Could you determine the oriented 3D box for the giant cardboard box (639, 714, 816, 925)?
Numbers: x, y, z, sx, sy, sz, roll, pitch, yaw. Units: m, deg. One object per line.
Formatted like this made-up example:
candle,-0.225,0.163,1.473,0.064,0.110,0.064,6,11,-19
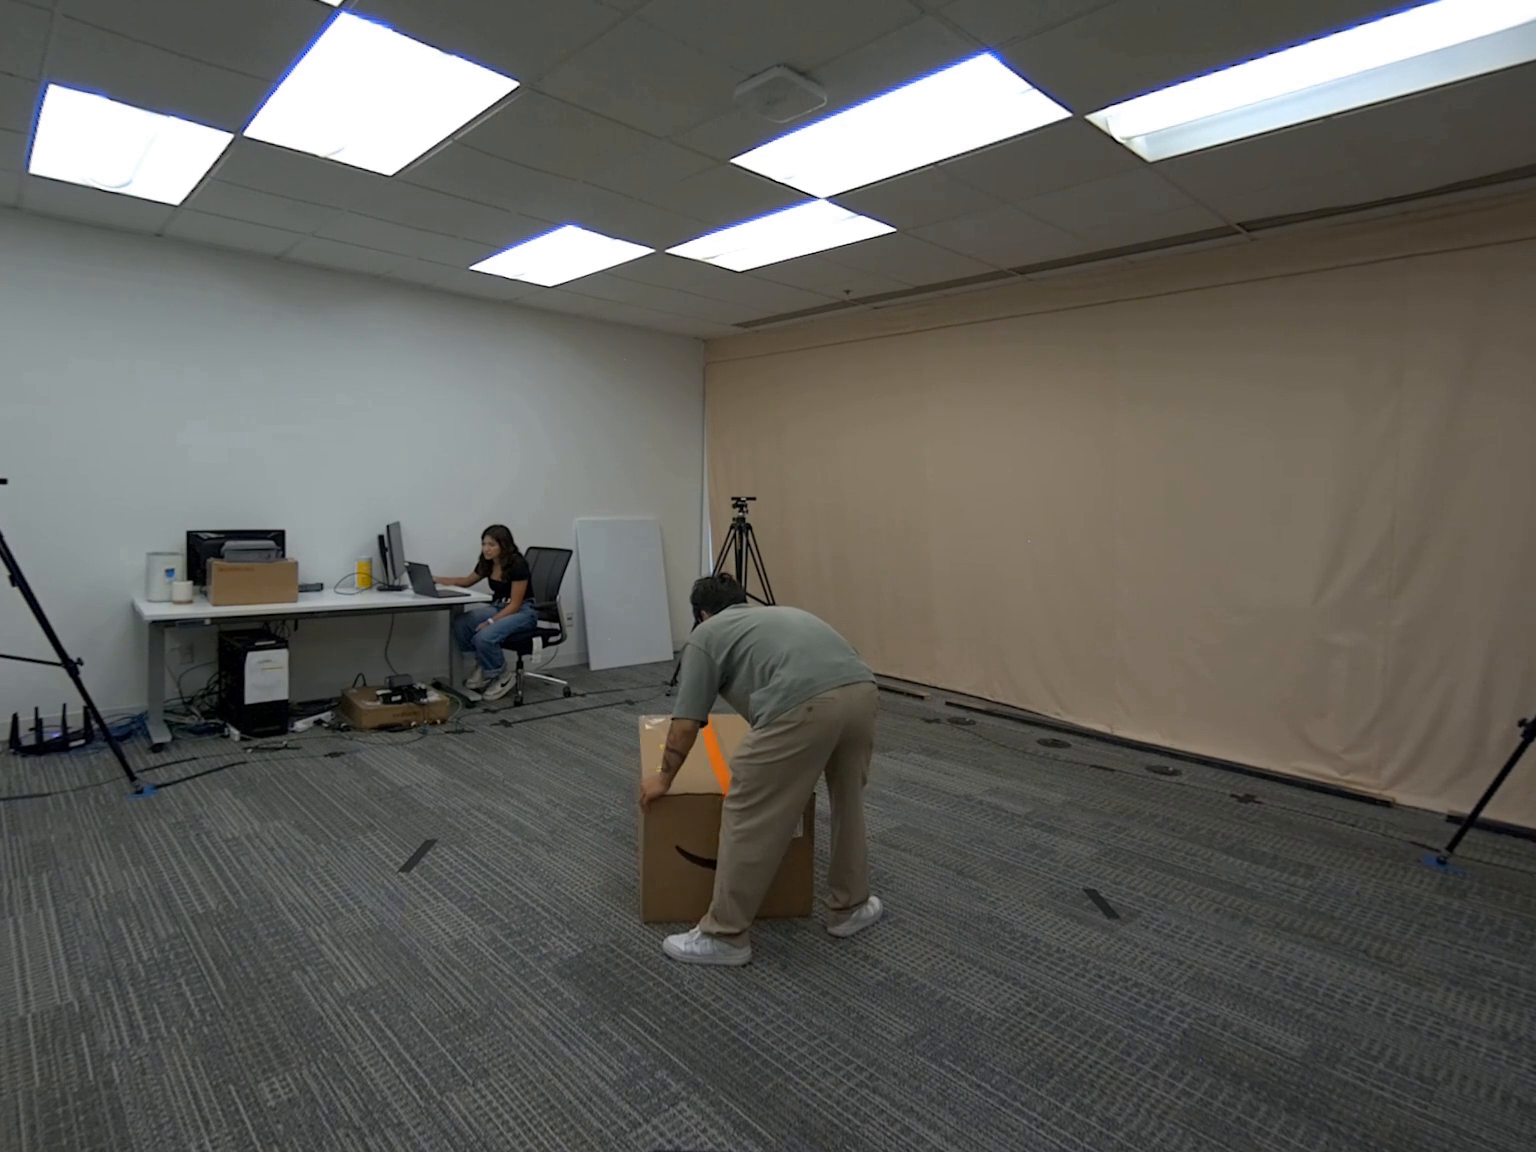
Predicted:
giant cardboard box,-0.221,0.873,3.272,0.573,0.425,1.036,1,5,-9
